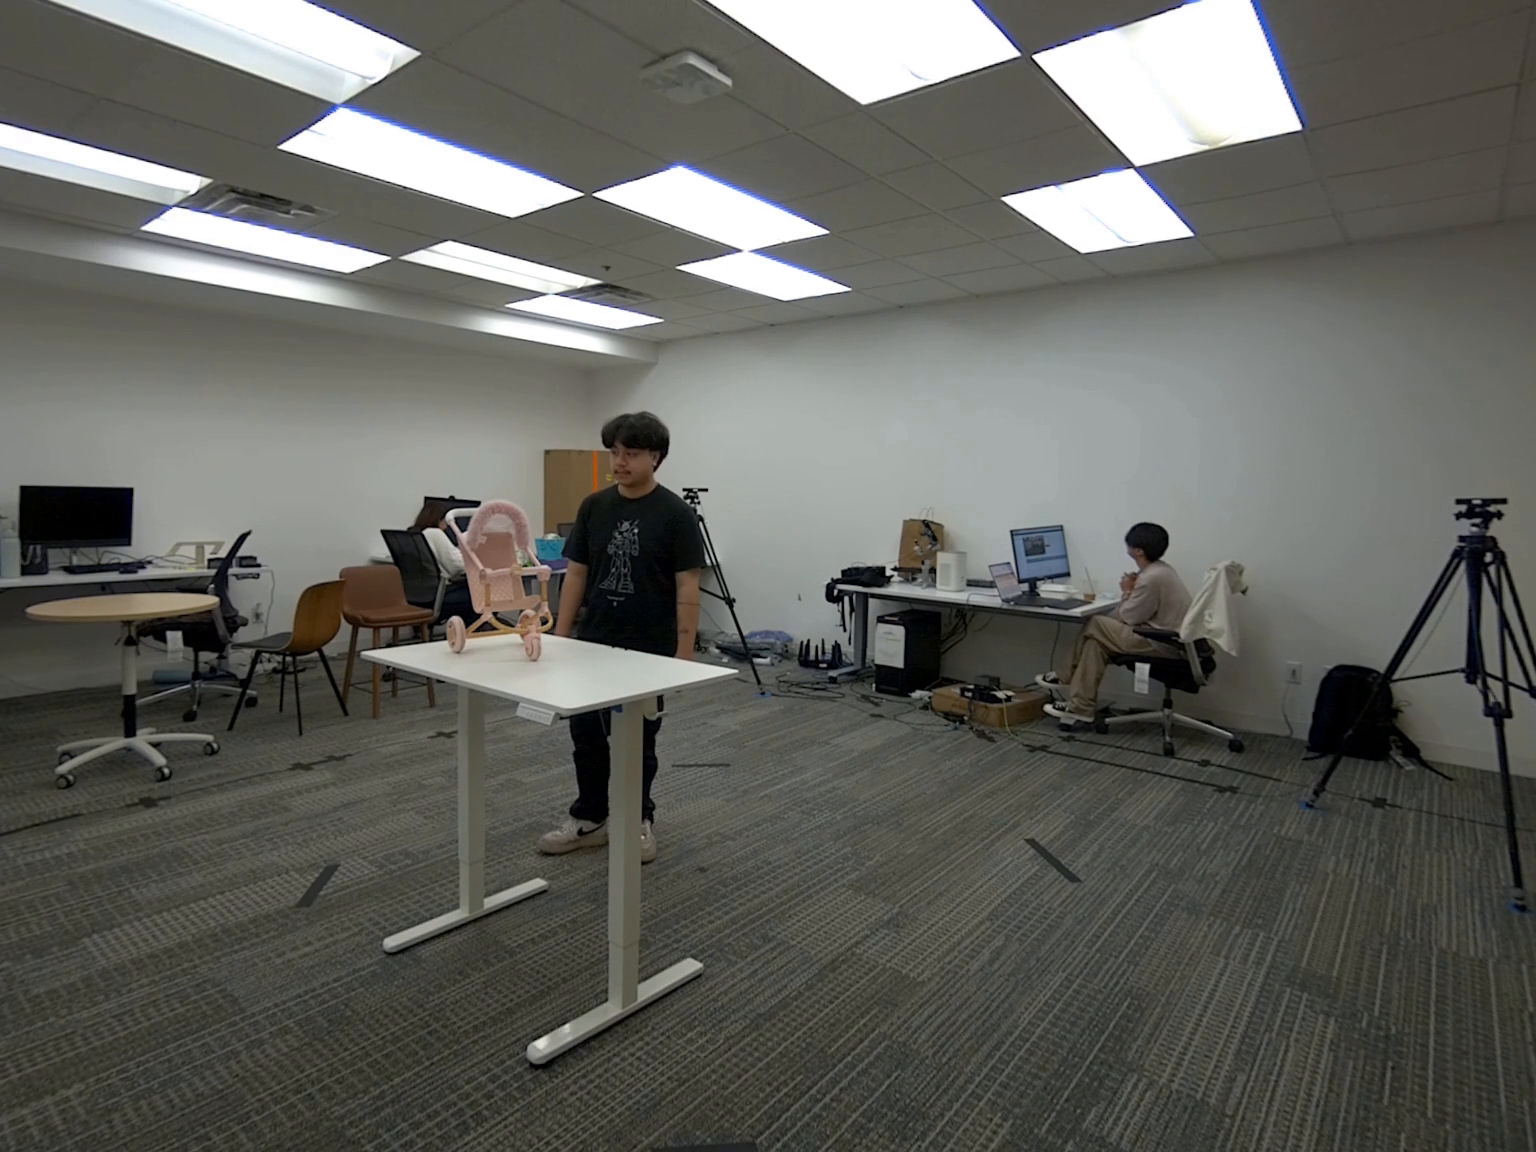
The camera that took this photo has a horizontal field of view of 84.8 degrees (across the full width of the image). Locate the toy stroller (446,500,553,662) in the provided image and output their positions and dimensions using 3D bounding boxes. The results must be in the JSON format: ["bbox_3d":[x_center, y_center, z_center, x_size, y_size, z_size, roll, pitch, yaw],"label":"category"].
[{"bbox_3d":[-0.825,0.005,2.595,0.273,0.541,0.348,-2,-12,-38],"label":"toy stroller"}]
